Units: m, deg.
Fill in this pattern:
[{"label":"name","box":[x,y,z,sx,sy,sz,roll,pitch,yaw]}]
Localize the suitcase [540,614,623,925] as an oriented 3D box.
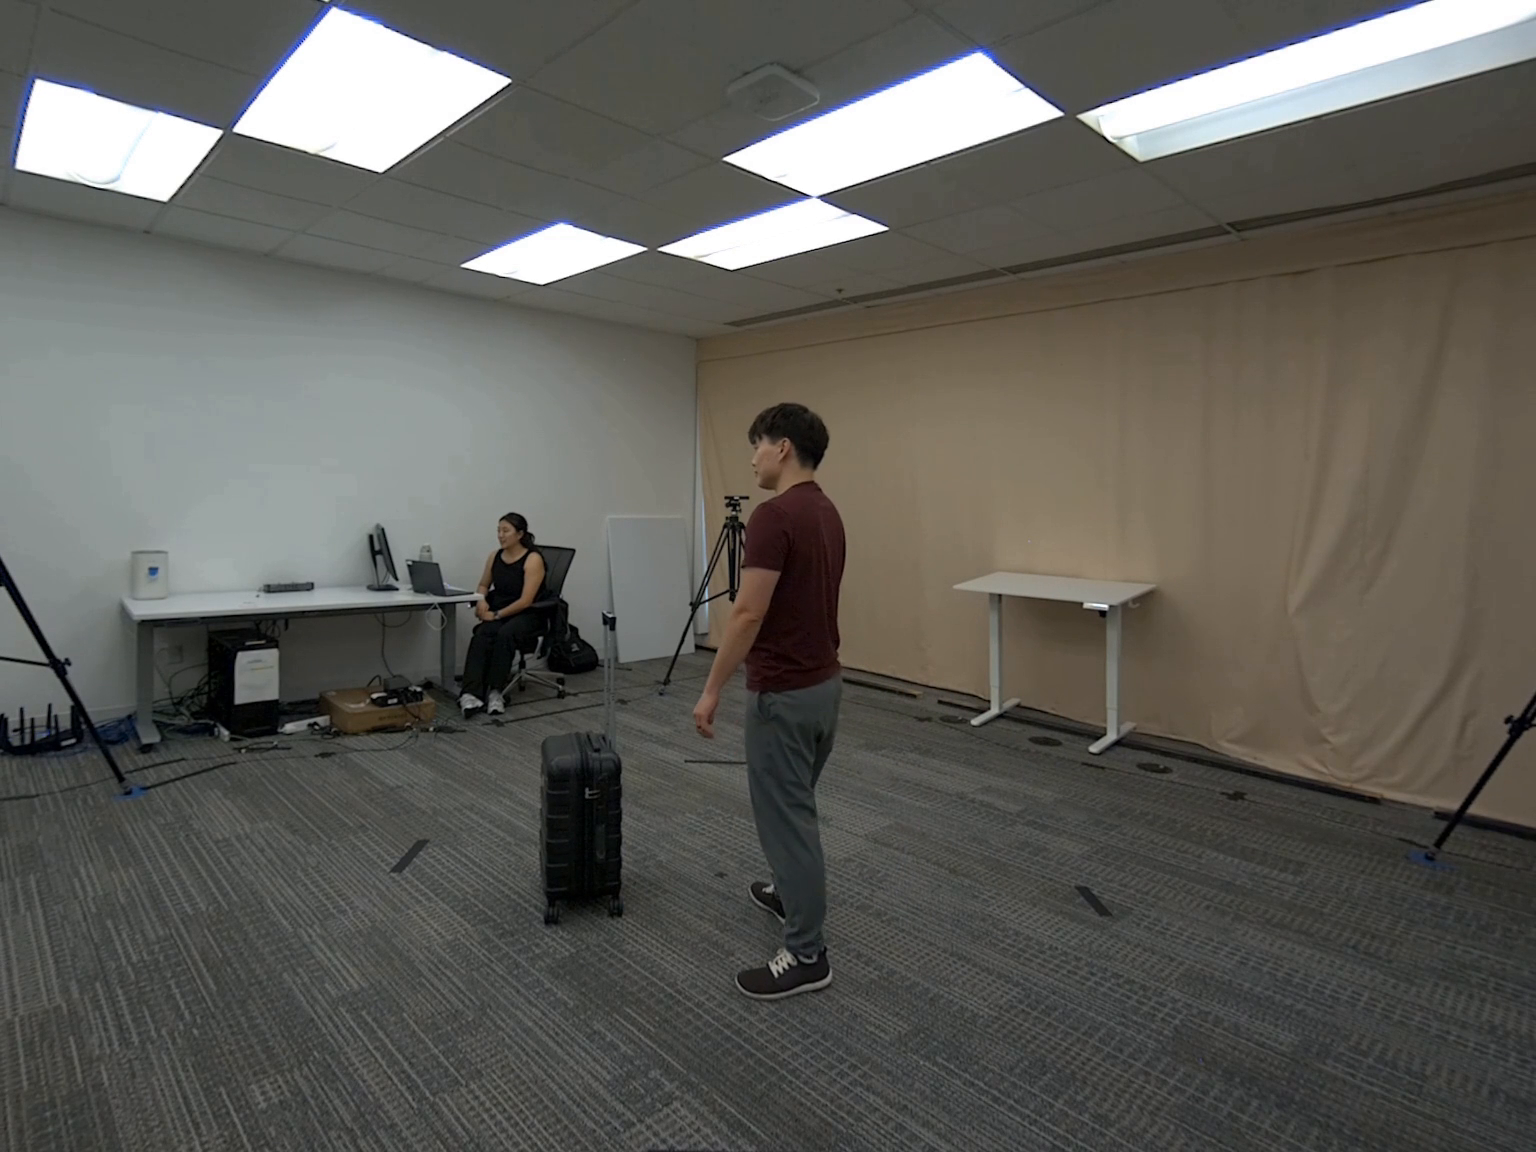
[{"label":"suitcase","box":[-0.660,0.635,2.892,0.254,0.976,0.389,-2,4,-14]}]
